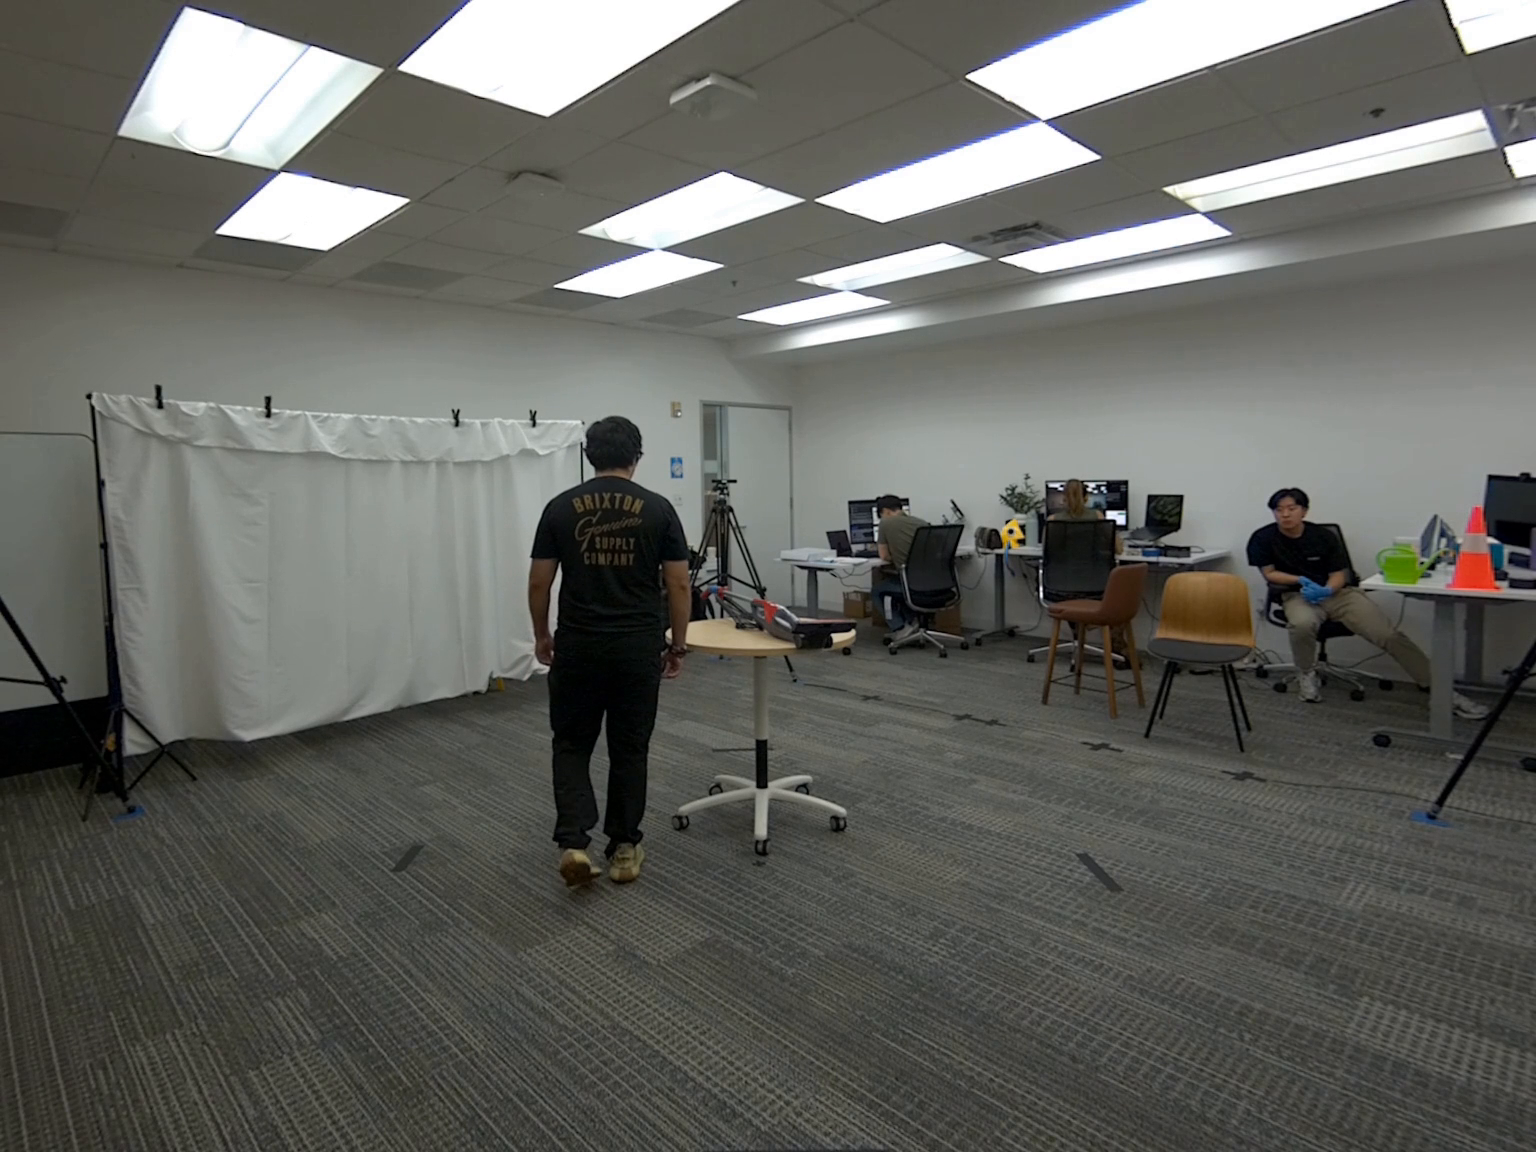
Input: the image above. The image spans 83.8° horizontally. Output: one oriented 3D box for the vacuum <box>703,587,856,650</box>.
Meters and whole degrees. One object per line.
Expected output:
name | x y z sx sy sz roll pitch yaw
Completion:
vacuum | -0.065 0.161 3.539 0.246 0.144 1.078 5 4 -28
